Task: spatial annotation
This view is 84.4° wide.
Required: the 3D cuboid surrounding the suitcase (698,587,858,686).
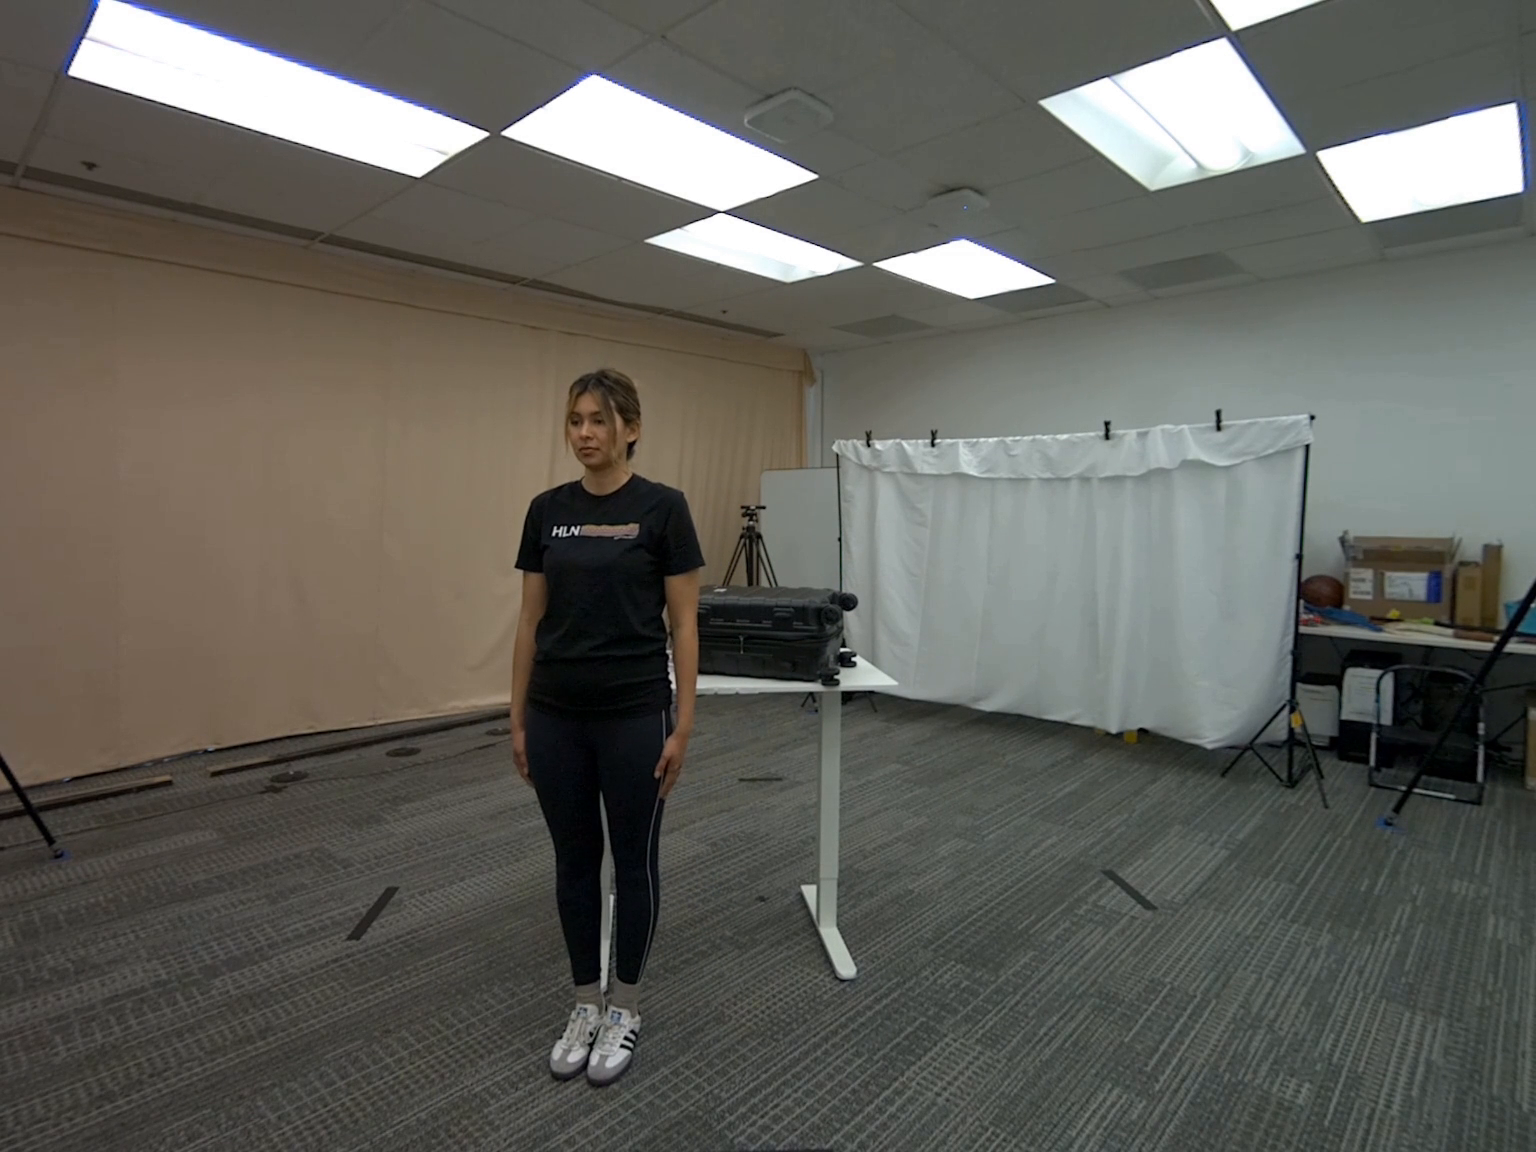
[{"bbox_3d":[-0.205,0.163,2.707,0.997,0.256,0.378,3,7,17],"label":"suitcase"}]
